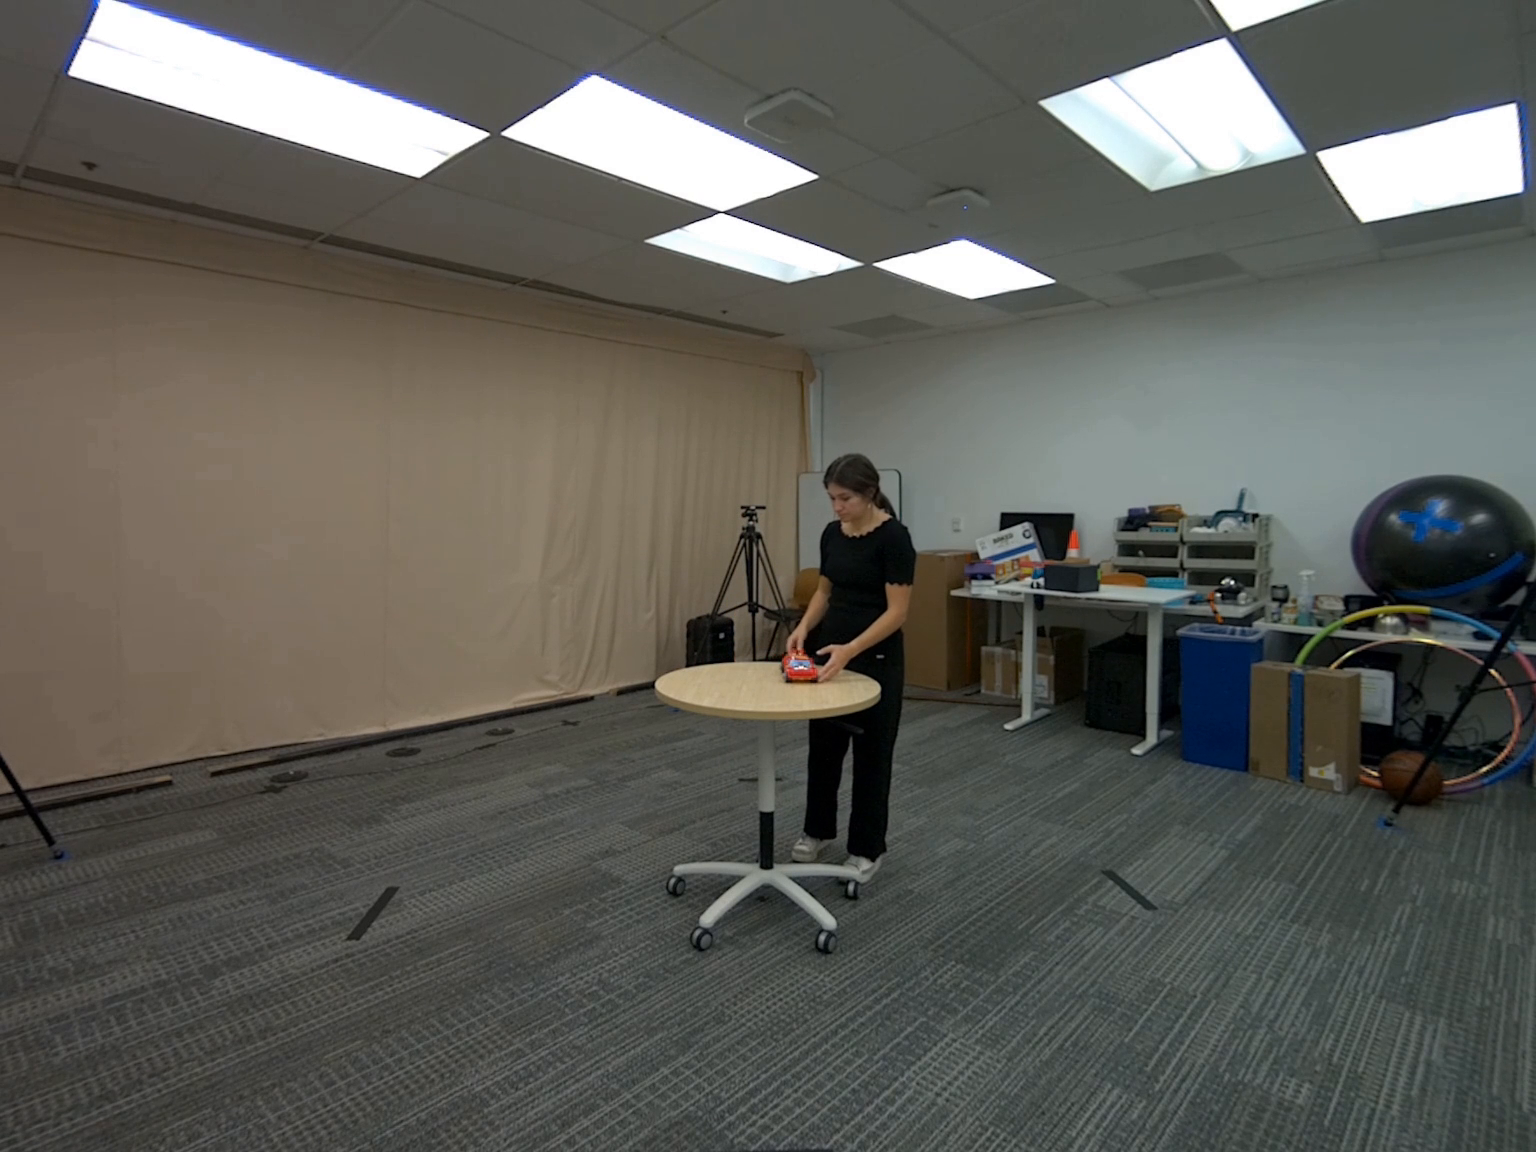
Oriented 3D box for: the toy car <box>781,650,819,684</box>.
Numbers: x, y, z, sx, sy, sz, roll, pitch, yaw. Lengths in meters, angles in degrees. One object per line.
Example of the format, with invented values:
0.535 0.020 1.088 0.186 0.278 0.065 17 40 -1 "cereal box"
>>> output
0.115 0.331 2.994 0.130 0.082 0.257 0 15 -3 "toy car"
